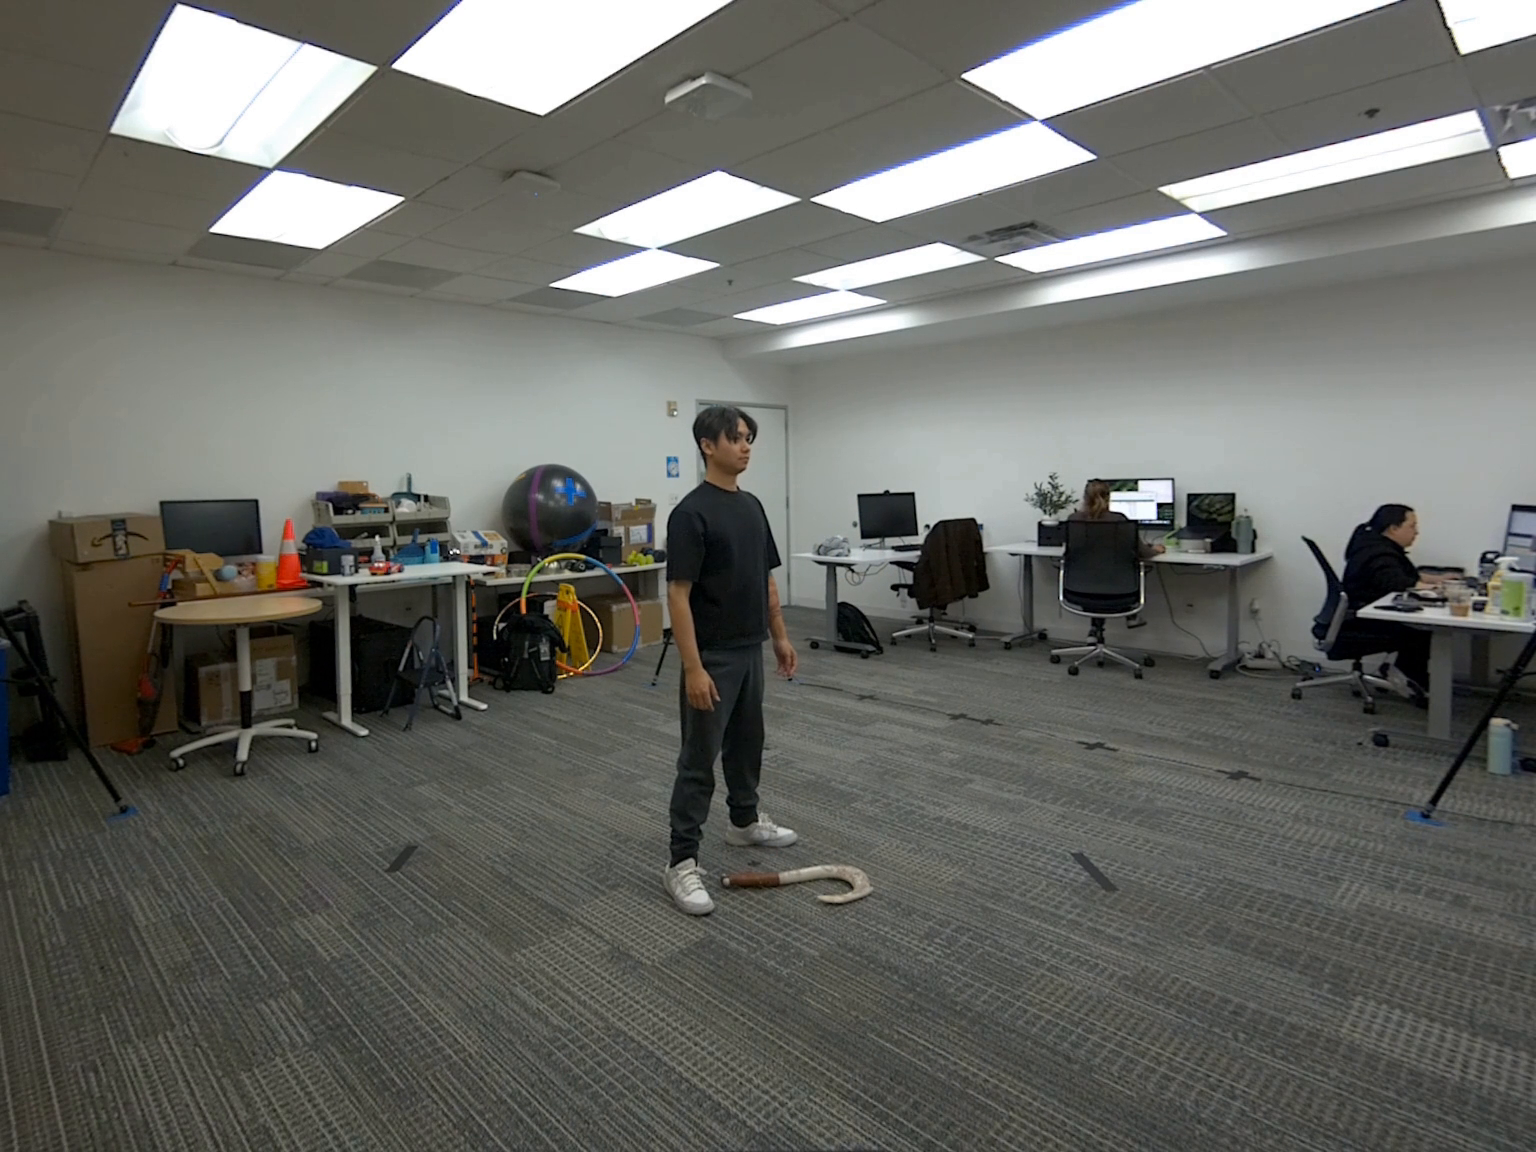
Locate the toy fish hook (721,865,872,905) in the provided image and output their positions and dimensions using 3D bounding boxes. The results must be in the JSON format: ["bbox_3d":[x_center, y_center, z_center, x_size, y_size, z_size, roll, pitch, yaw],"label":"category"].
[{"bbox_3d":[0.096,1.038,2.888,0.504,0.048,0.226,-1,3,-4],"label":"toy fish hook"}]
